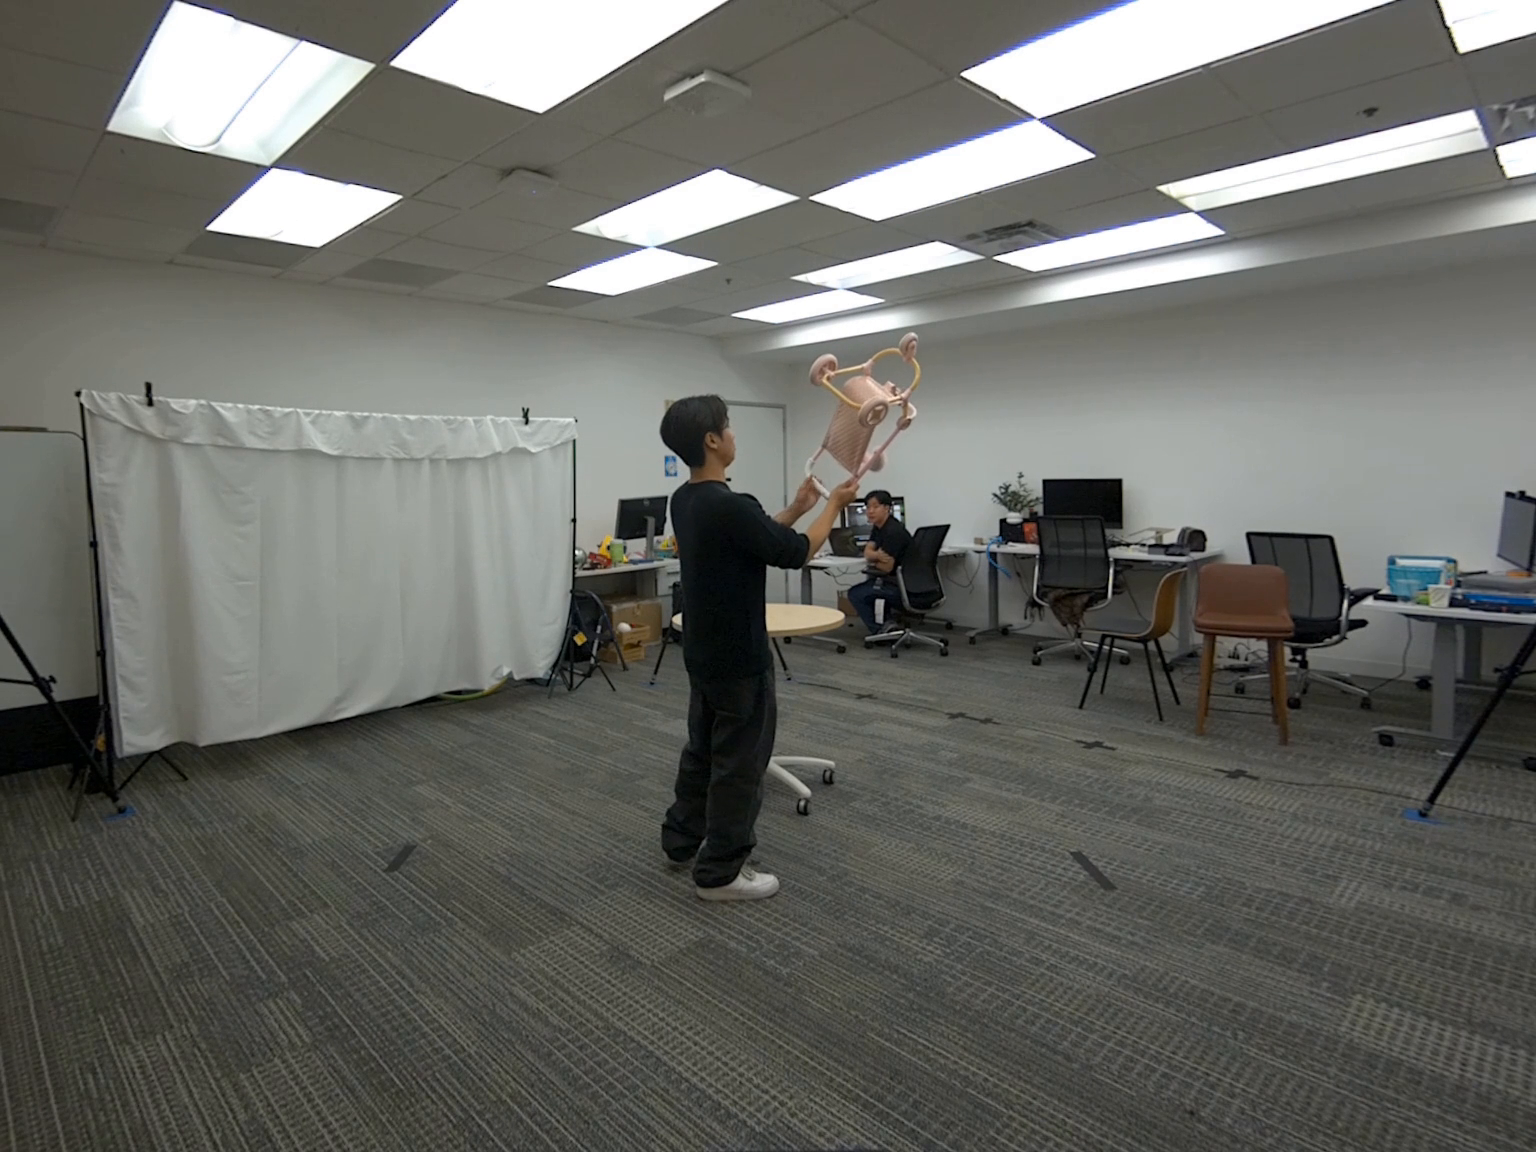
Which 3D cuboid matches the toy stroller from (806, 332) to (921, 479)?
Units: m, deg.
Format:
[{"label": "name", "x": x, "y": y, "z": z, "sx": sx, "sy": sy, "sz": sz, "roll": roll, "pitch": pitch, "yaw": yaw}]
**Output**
[{"label": "toy stroller", "x": 0.320, "y": -0.529, "z": 2.815, "sx": 0.338, "sy": 0.521, "sz": 0.291, "roll": -31, "pitch": 56, "yaw": -27}]
